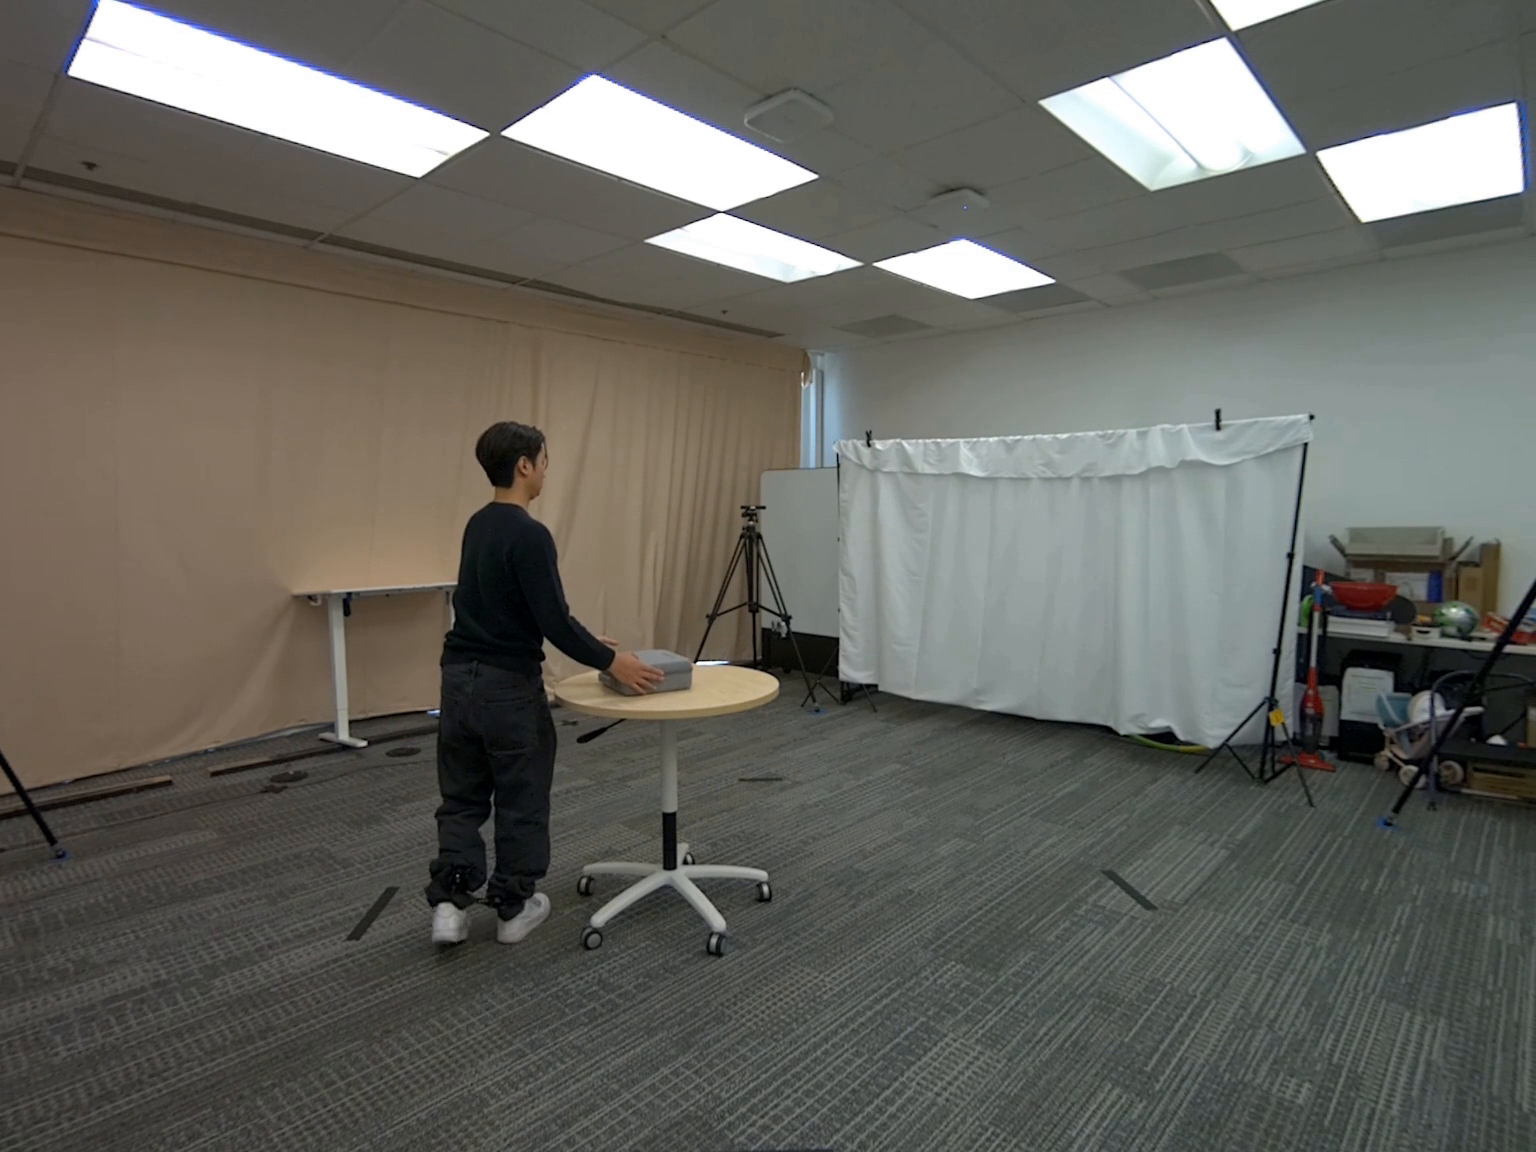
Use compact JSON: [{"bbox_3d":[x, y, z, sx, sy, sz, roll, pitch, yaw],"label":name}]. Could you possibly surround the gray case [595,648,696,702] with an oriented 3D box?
[{"bbox_3d":[-0.415,0.324,2.836,0.254,0.104,0.264,-3,6,-27],"label":"gray case"}]
